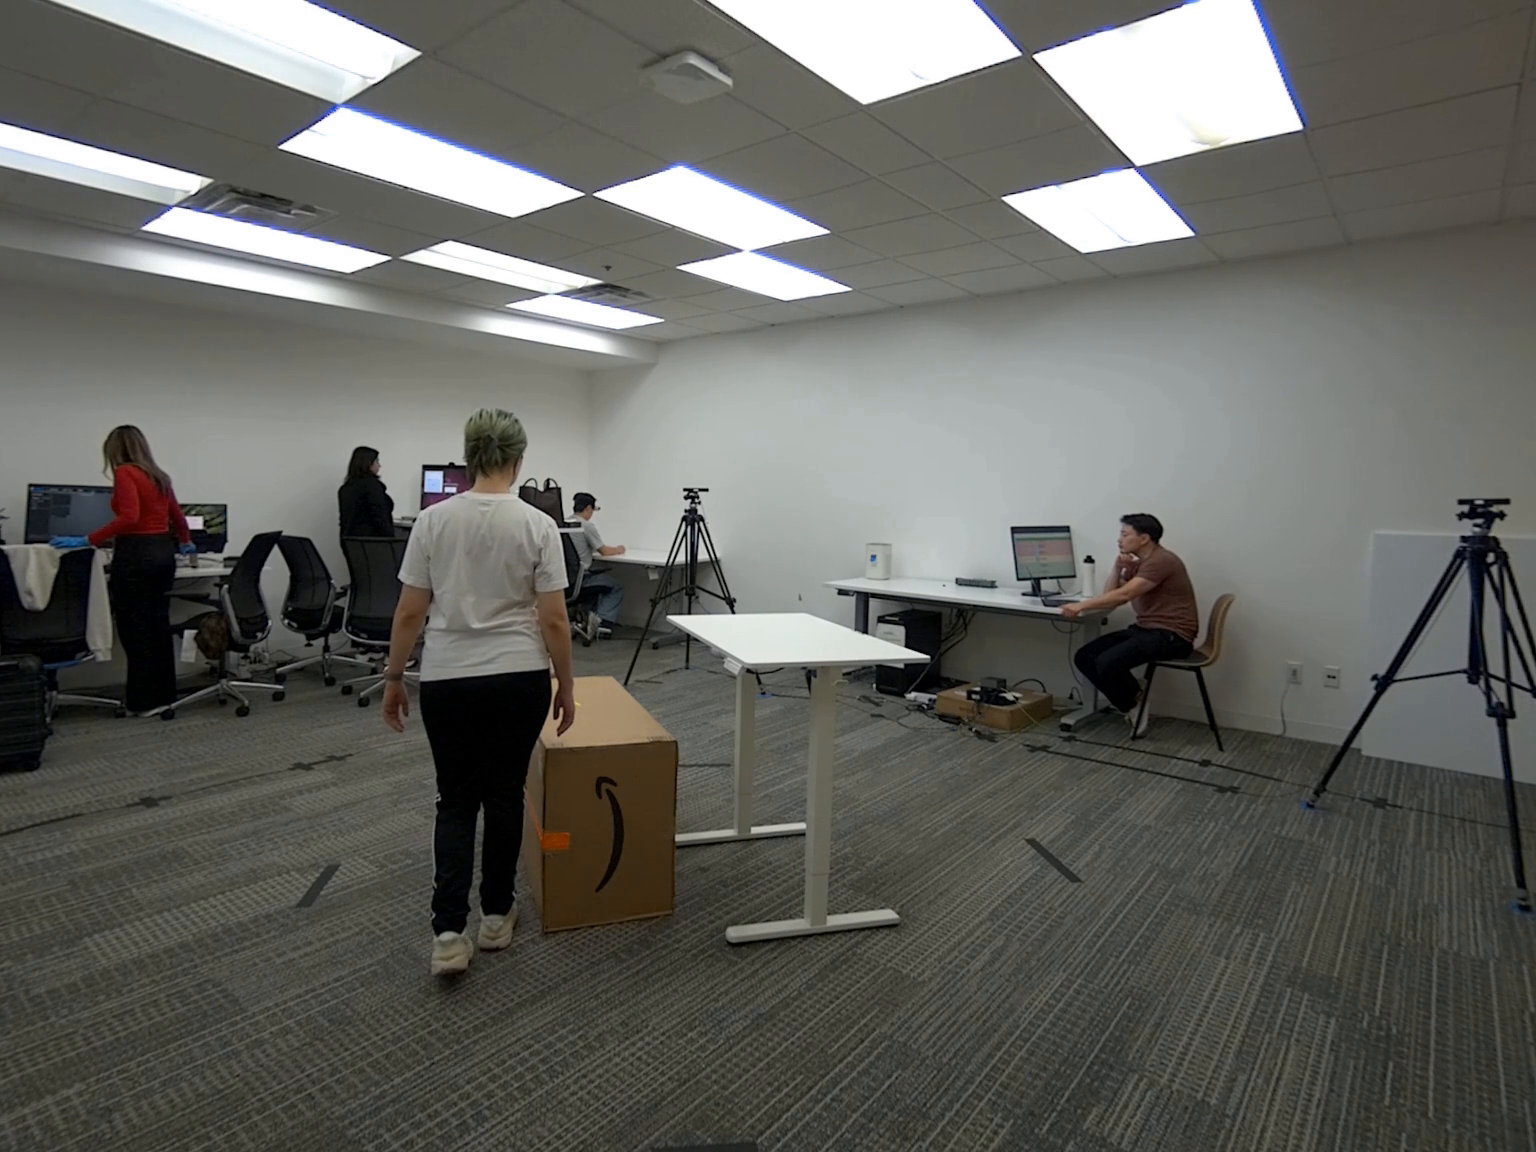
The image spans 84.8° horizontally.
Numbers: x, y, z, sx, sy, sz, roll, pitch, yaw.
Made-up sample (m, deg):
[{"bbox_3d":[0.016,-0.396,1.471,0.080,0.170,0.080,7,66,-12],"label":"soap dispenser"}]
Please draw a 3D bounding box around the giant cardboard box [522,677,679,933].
[{"bbox_3d":[-0.699,0.764,3.170,0.437,0.582,1.052,0,4,-22],"label":"giant cardboard box"}]
